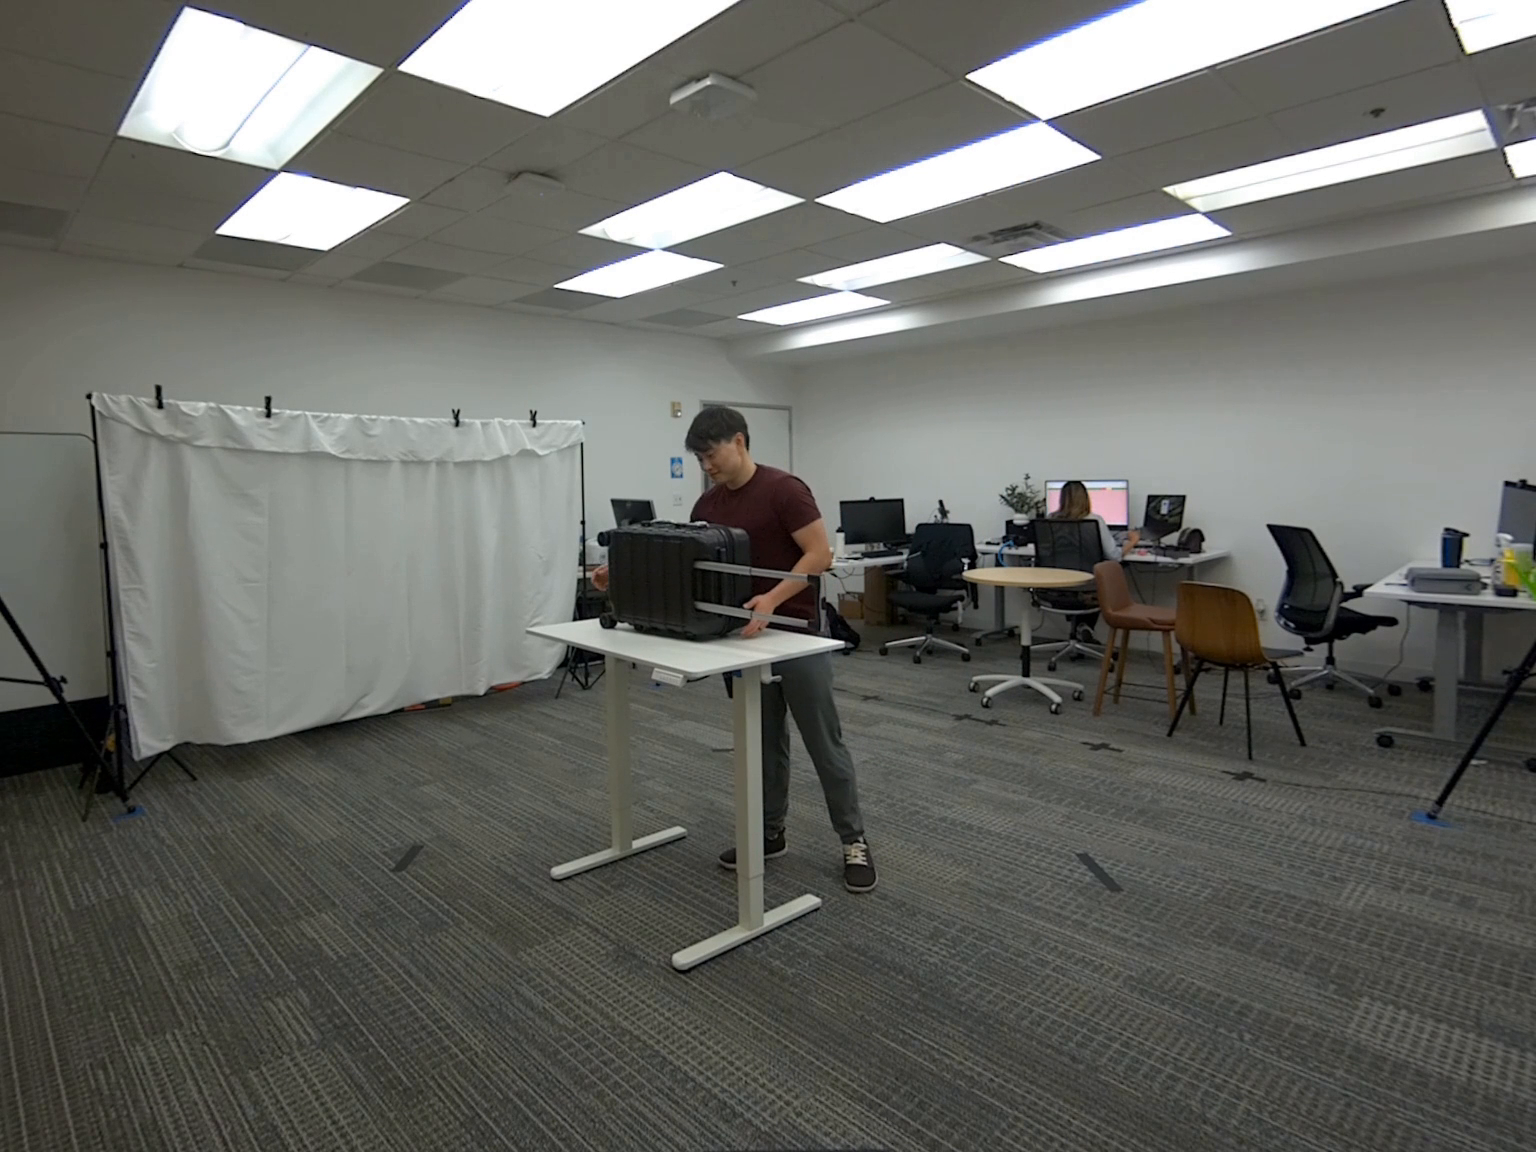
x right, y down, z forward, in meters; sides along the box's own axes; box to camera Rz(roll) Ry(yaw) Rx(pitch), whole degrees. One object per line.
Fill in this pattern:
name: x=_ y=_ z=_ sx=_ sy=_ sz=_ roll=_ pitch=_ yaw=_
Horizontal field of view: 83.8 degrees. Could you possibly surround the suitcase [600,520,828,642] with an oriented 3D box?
suitcase: x=-0.162 y=0.021 z=2.764 sx=1.009 sy=0.383 sz=0.250 roll=4 pitch=5 yaw=43
